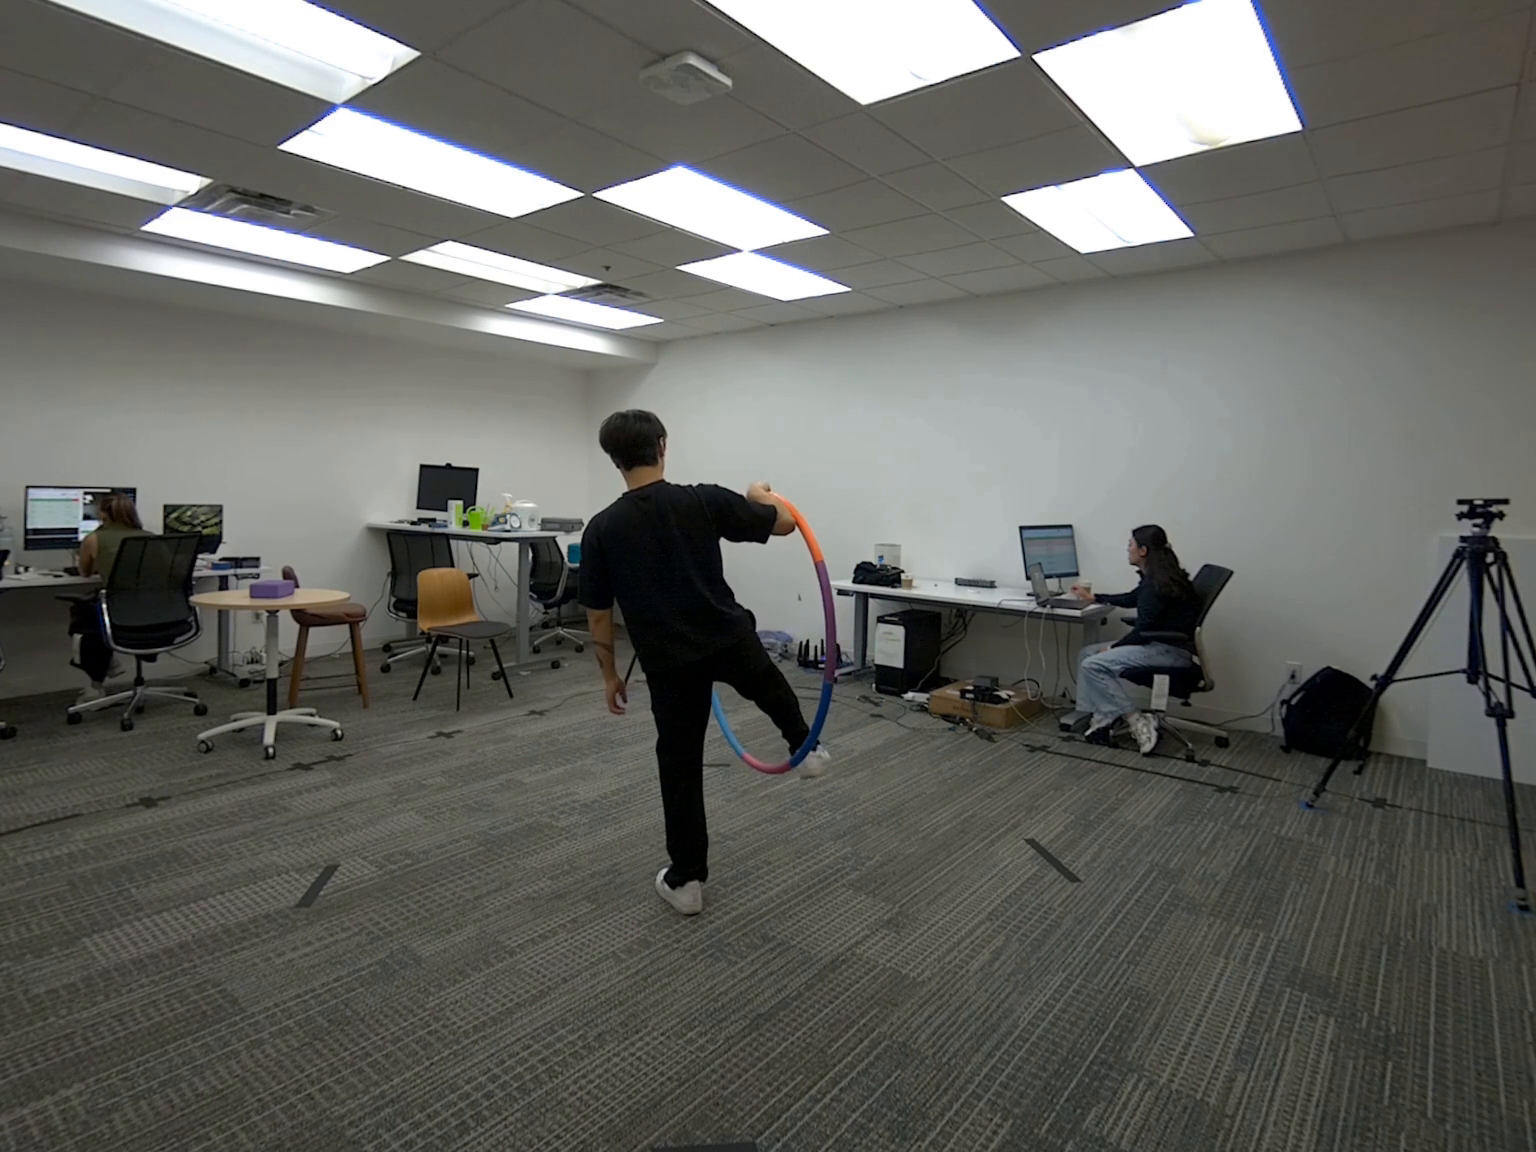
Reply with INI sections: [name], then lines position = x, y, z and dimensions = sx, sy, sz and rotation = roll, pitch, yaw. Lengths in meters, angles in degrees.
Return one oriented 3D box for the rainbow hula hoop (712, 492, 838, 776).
[rainbow hula hoop]
position = -0.051, 0.184, 3.035
dimensions = 0.034, 0.975, 1.008
rotation = -2, 5, -29
